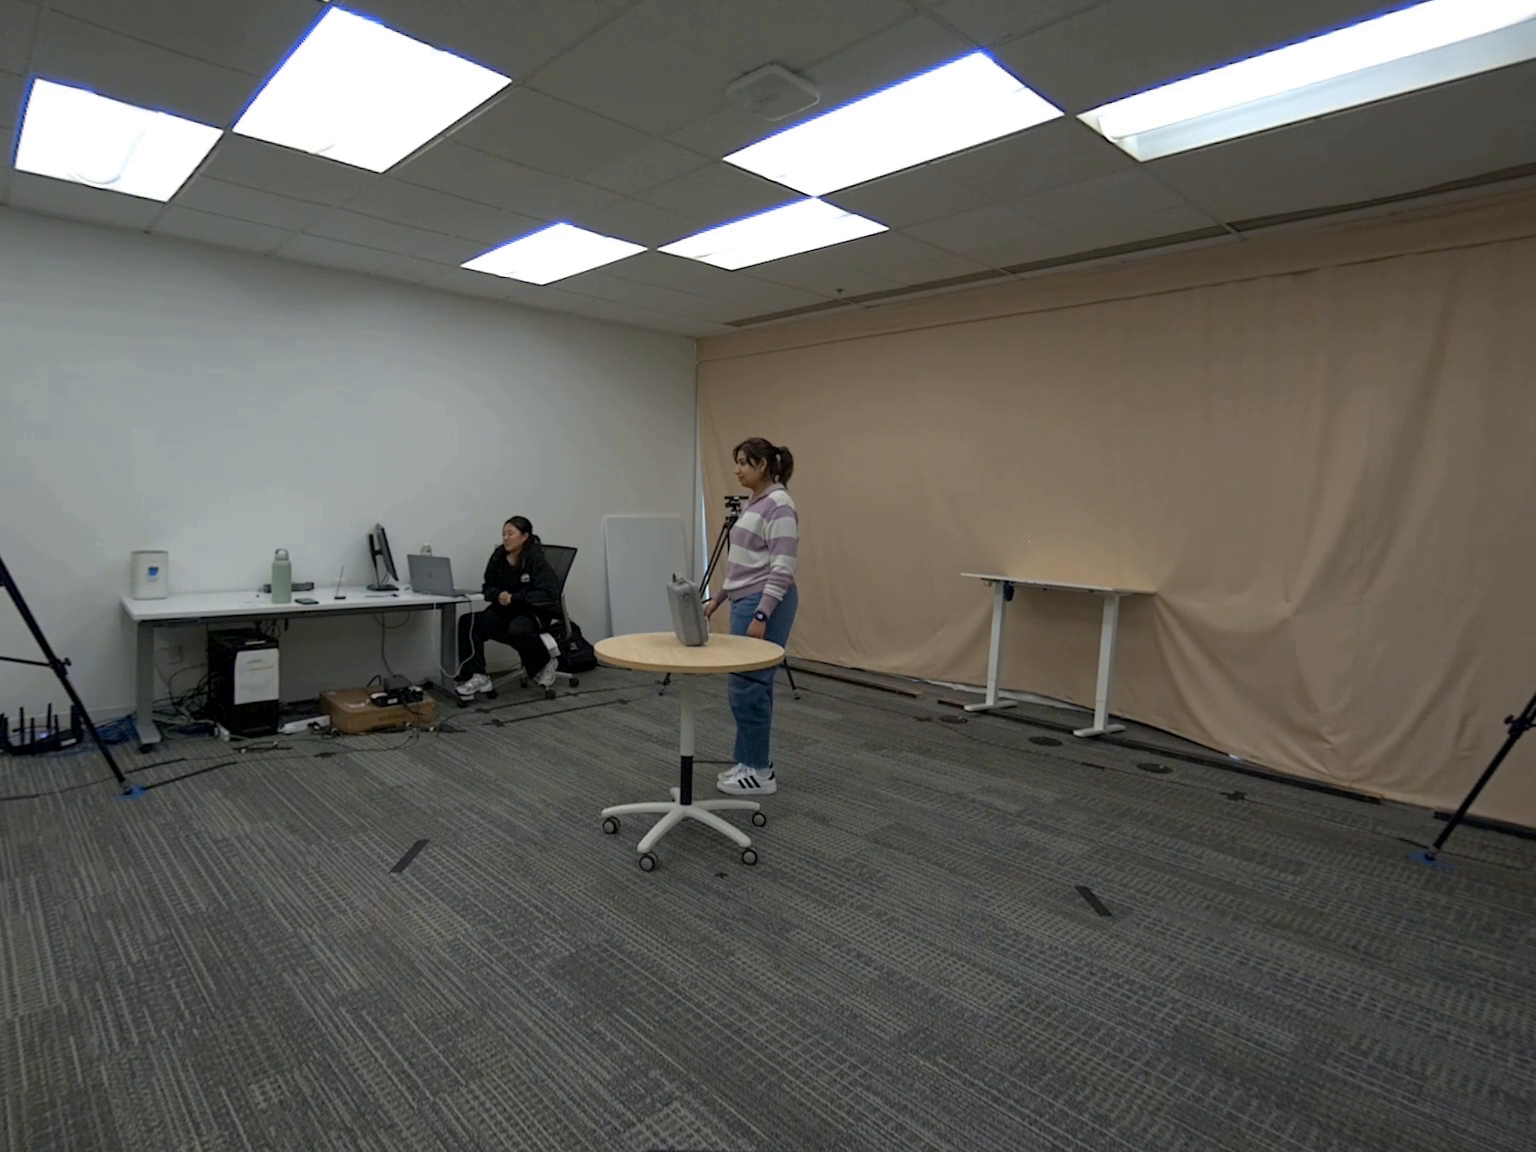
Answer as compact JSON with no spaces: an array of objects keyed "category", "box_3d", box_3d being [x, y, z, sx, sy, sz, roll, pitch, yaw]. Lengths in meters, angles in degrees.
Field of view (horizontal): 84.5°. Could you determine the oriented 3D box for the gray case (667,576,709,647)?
[{"category":"gray case","box_3d":[-0.346,0.150,3.521,0.103,0.260,0.260,-8,5,-13]}]
